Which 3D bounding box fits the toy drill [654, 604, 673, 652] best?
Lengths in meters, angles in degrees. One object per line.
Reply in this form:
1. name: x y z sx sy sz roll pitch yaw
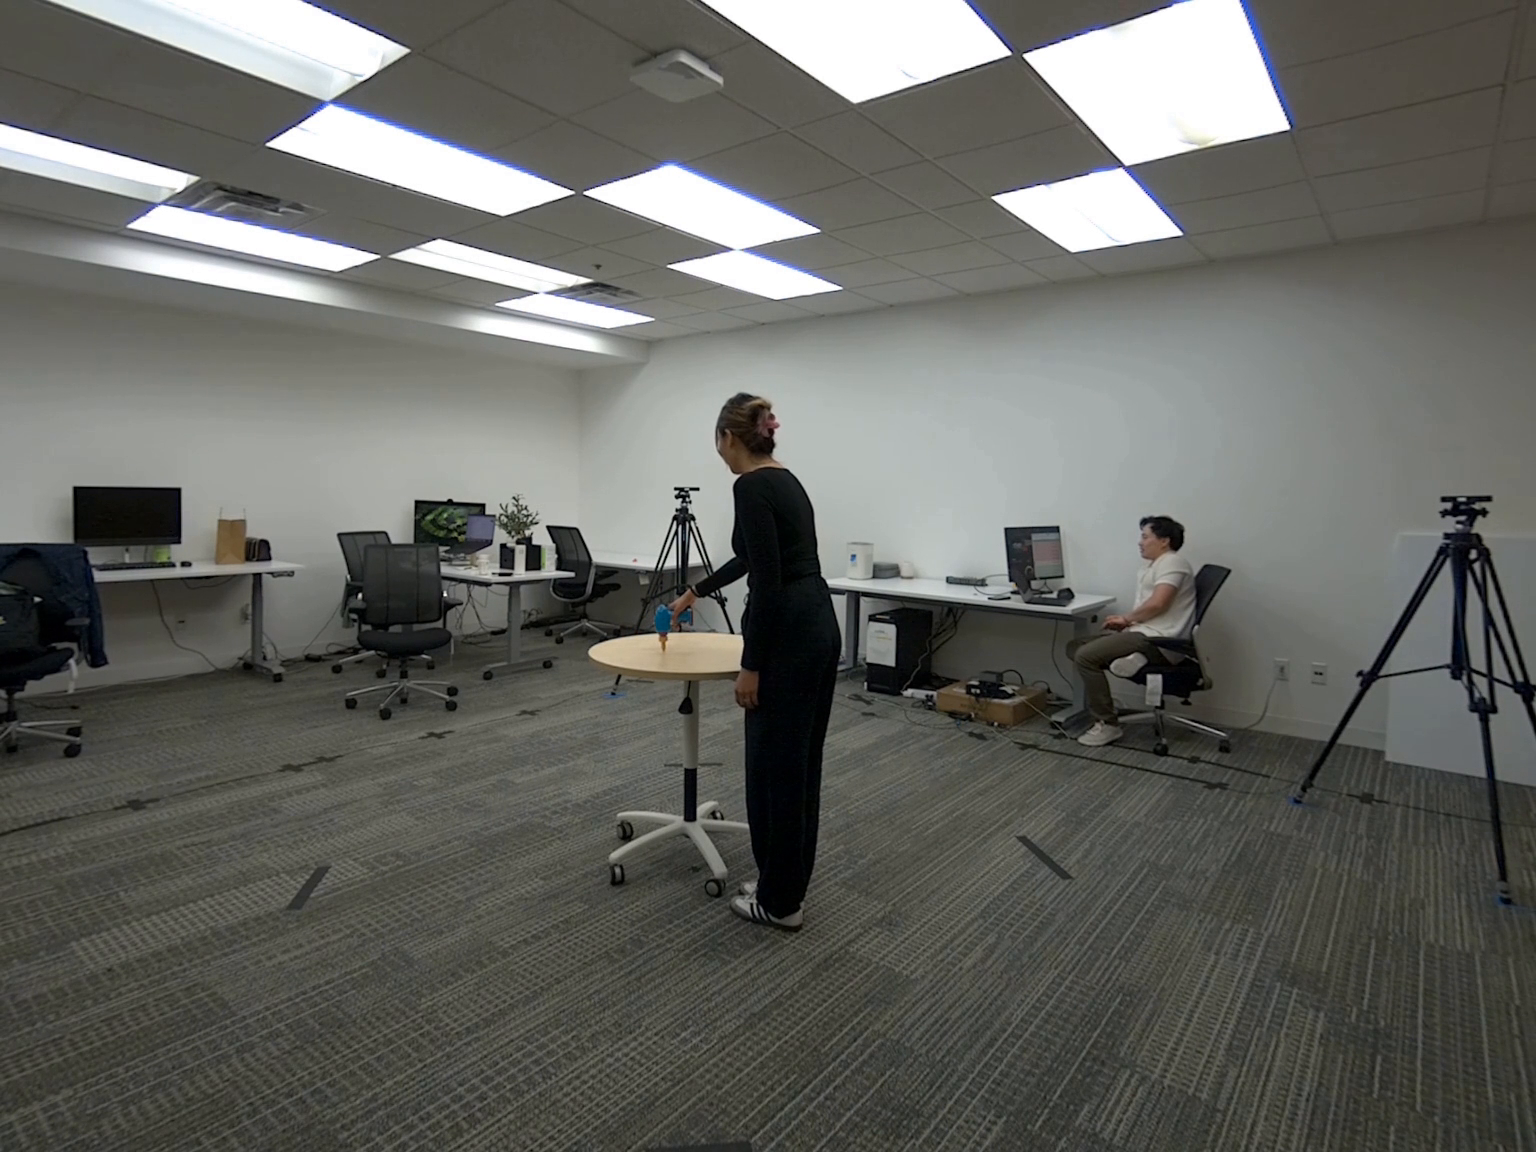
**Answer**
1. toy drill: -0.360 0.189 3.162 0.146 0.170 0.061 -2 -3 -2
